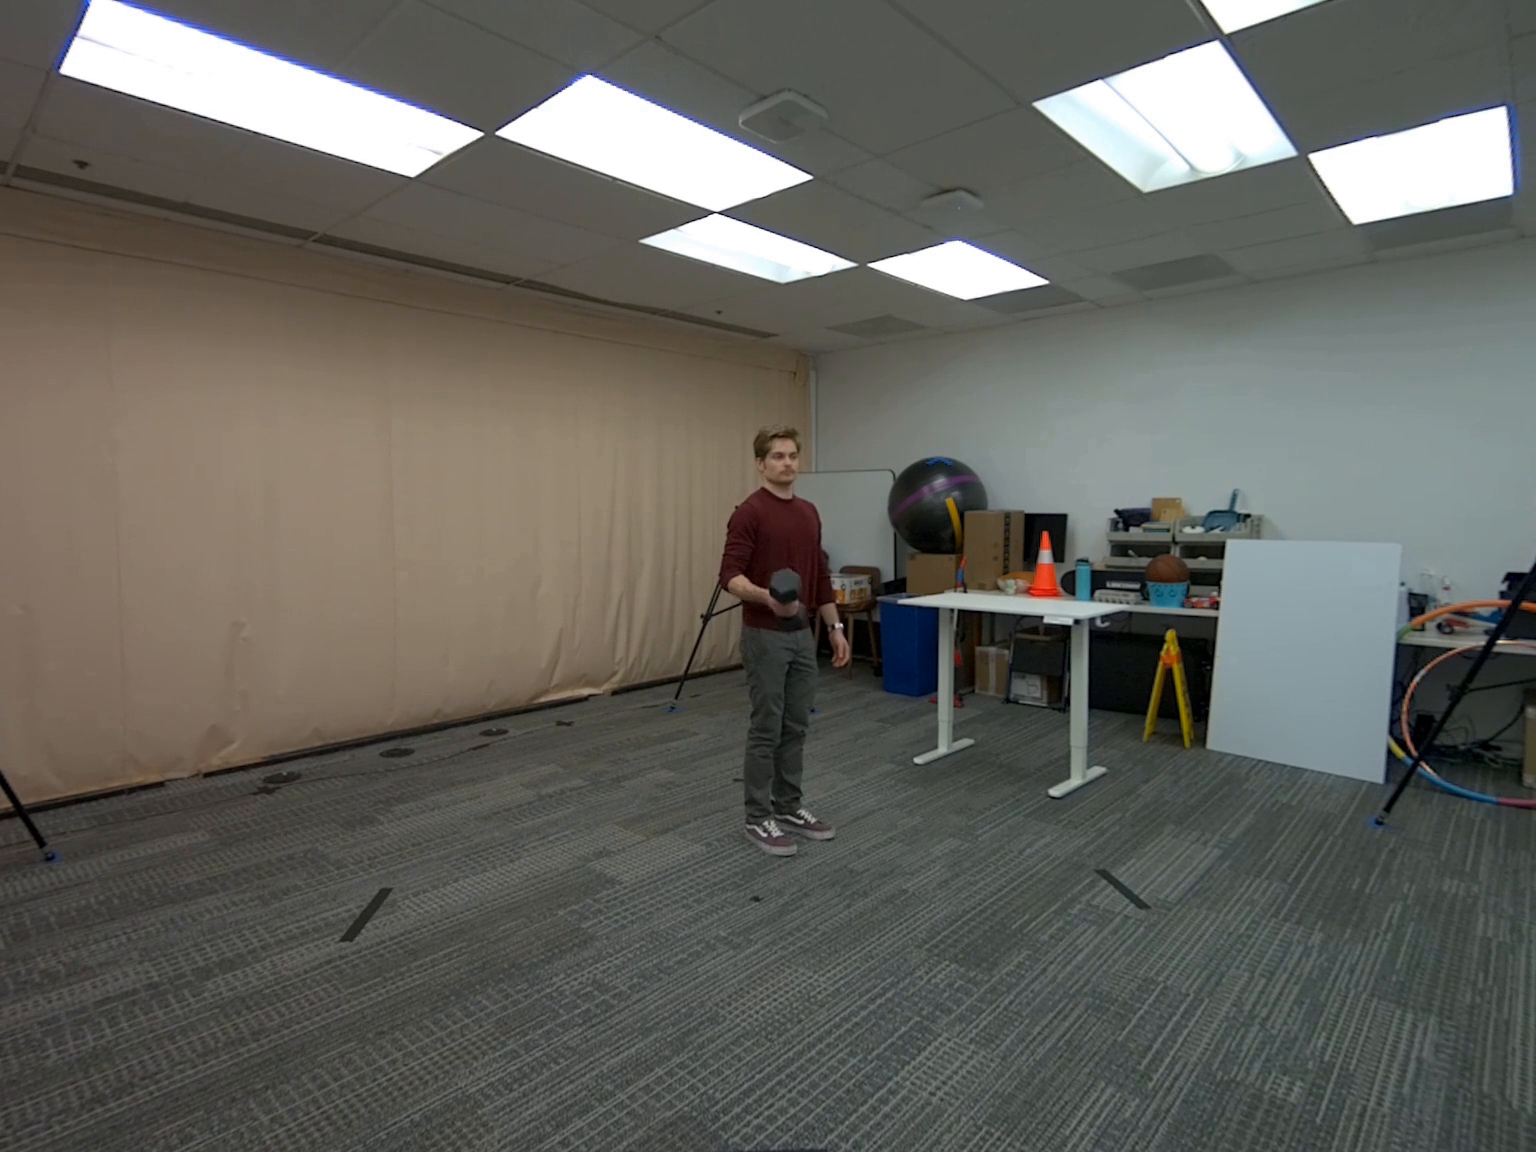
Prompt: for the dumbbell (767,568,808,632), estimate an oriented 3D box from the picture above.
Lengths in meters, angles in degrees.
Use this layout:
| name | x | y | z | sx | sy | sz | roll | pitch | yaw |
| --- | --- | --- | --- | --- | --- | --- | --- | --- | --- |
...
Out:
| name | x | y | z | sx | sy | sz | roll | pitch | yaw |
| --- | --- | --- | --- | --- | --- | --- | --- | --- | --- |
| dumbbell | 0.067 | 0.086 | 3.125 | 0.127 | 0.108 | 0.286 | 39 | -20 | 30 |
